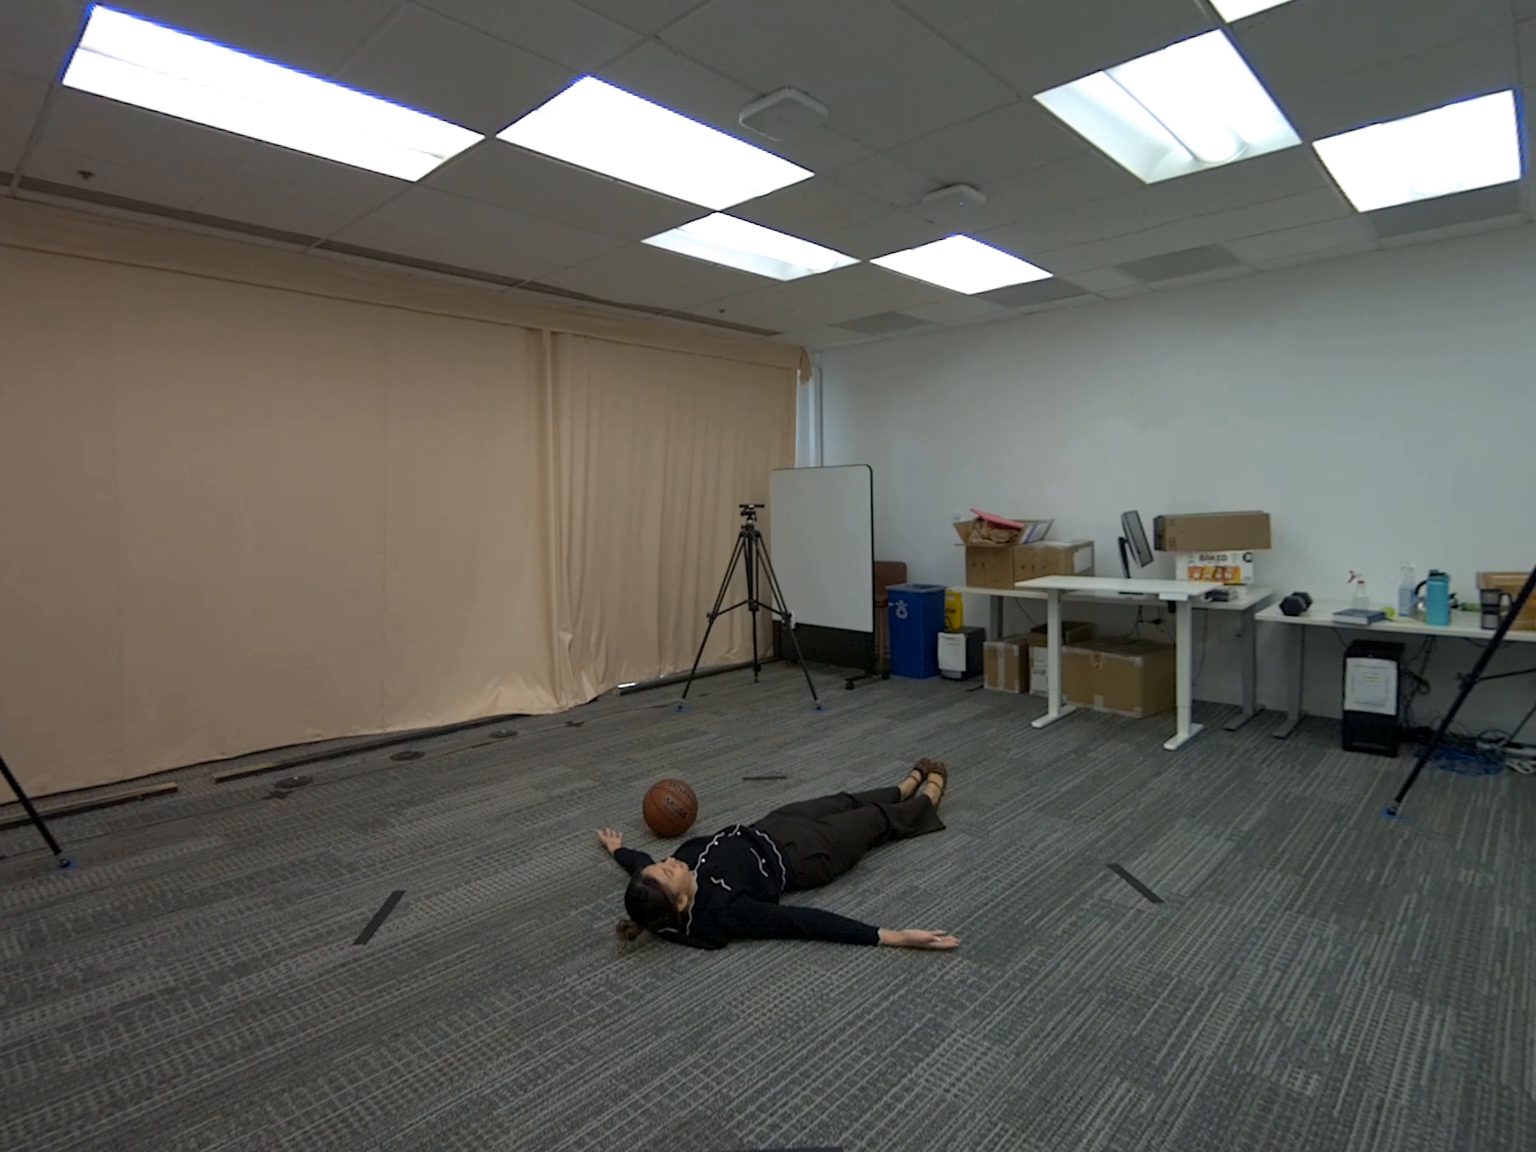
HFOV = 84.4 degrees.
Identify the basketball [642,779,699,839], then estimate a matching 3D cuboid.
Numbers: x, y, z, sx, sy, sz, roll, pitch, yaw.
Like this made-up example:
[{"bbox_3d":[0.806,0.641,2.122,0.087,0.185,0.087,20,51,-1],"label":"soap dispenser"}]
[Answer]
[{"bbox_3d":[-0.416,0.979,3.570,0.236,0.235,0.237,-1,4,-2],"label":"basketball"}]
